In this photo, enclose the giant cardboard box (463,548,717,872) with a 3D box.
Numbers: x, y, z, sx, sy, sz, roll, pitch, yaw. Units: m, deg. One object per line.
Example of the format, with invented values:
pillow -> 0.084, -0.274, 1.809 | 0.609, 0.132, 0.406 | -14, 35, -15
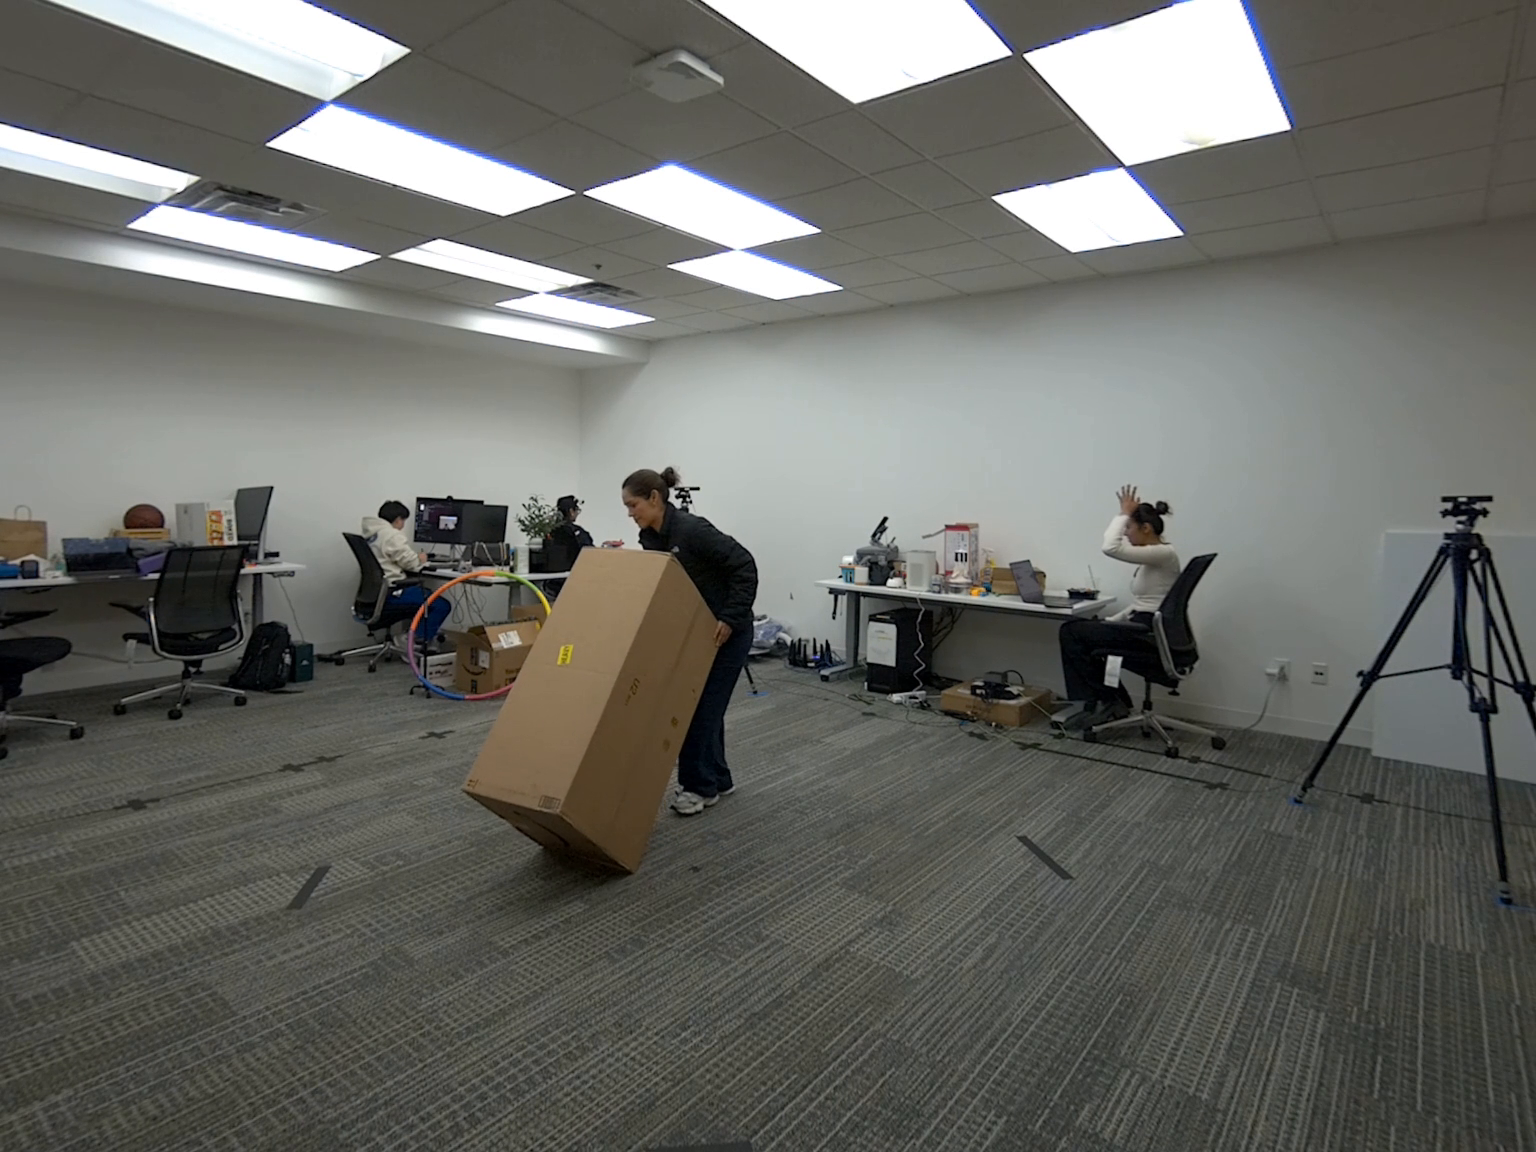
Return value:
giant cardboard box -> -0.597, 0.474, 3.242 | 0.459, 1.041, 0.560 | 2, -35, 28
